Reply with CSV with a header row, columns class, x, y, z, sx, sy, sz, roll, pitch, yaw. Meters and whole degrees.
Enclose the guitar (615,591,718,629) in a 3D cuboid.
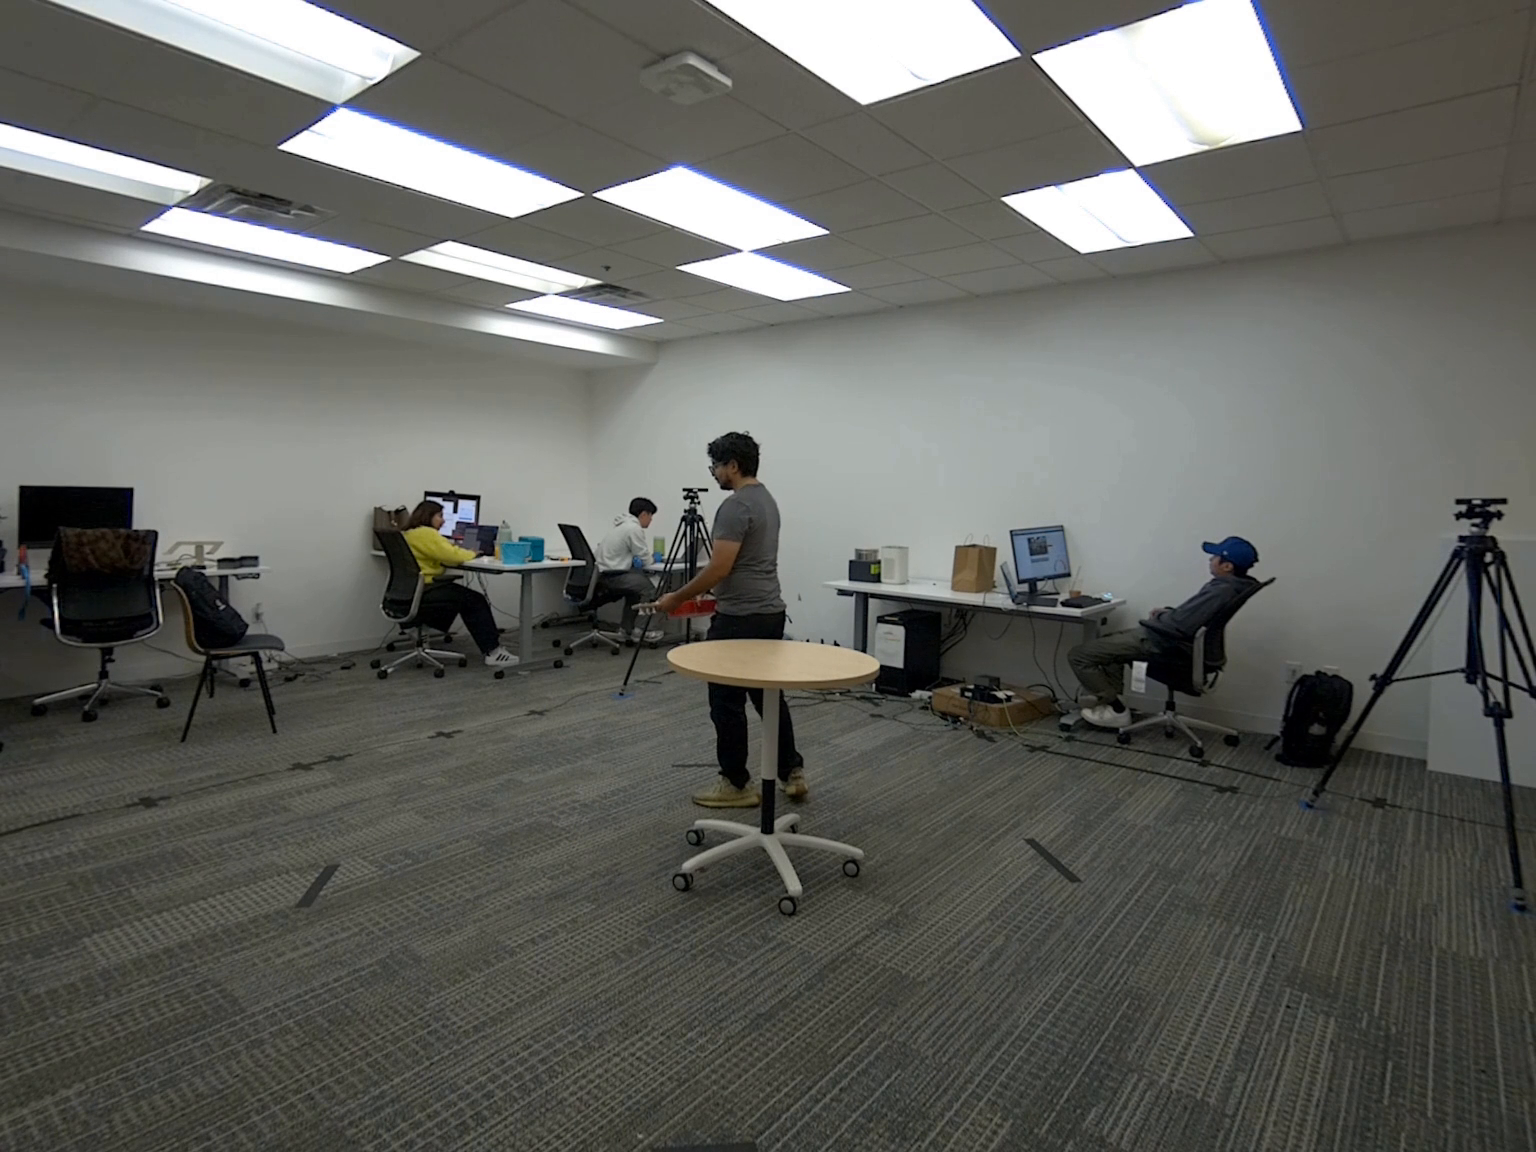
class,x,y,z,sx,sy,sz,roll,pitch,yaw
guitar,-0.438,0.150,3.867,0.484,0.071,0.196,-7,-12,-42
